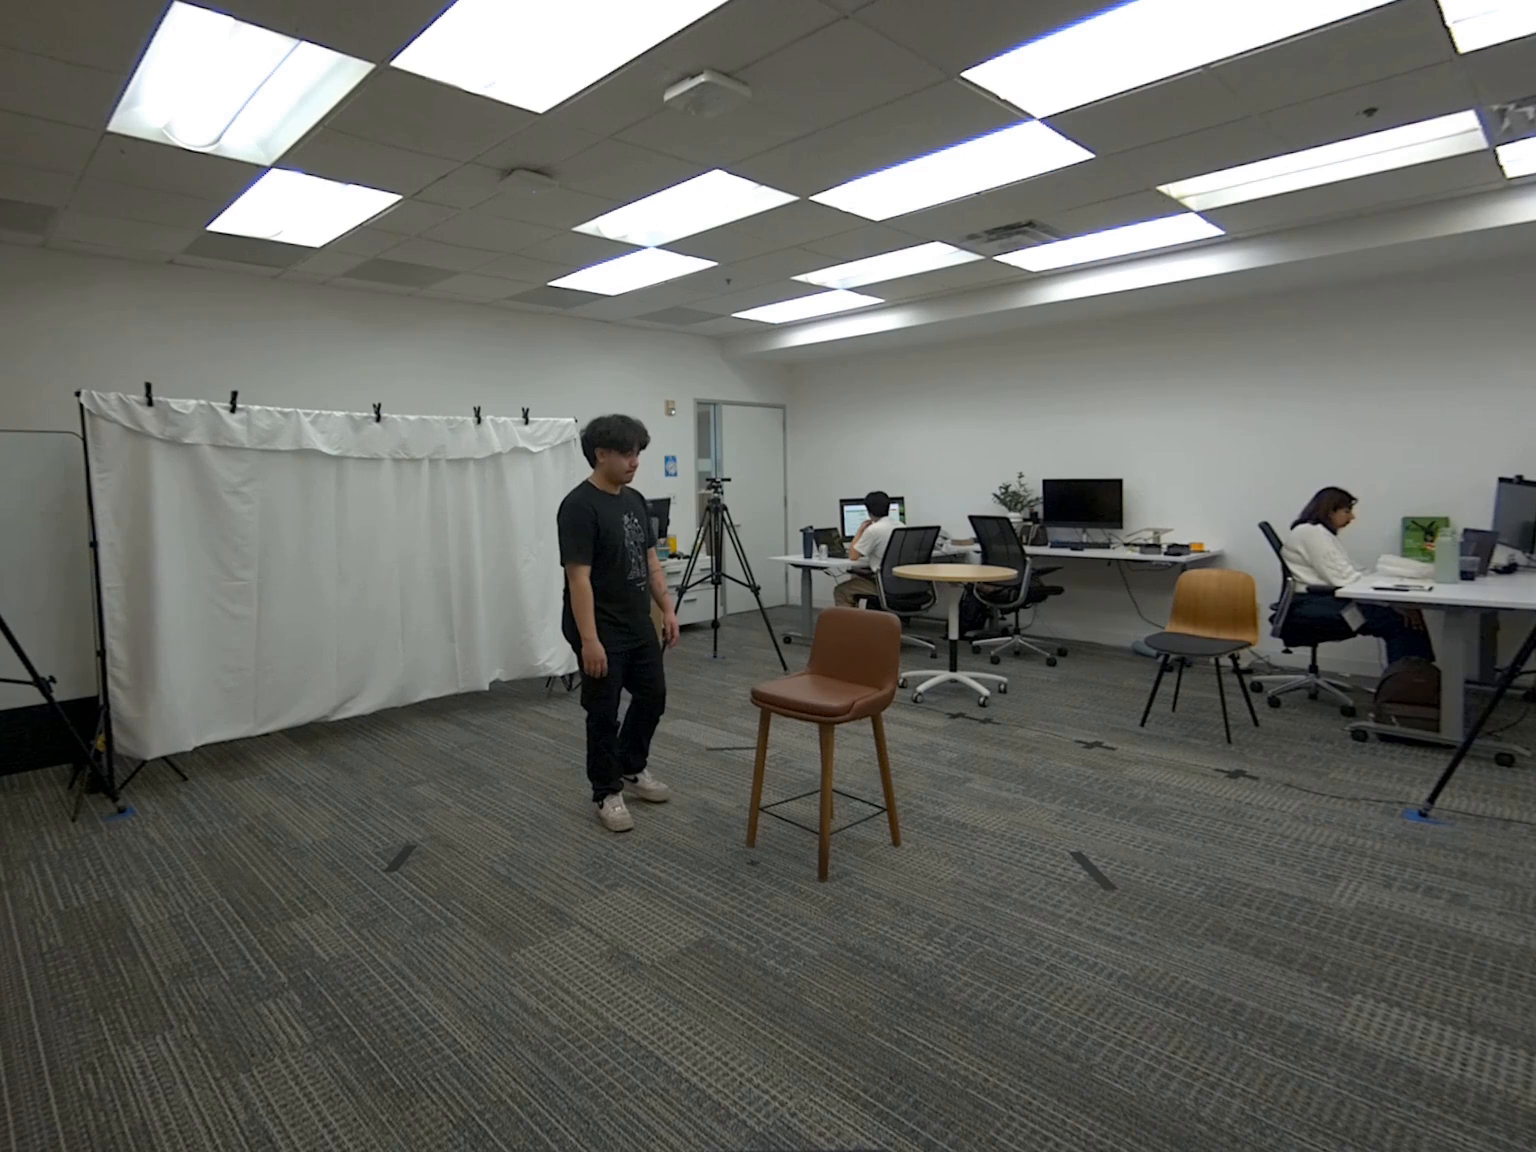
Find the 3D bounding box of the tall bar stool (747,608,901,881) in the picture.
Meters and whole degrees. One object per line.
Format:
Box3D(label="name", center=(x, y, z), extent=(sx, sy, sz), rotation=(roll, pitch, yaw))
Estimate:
Box3D(label="tall bar stool", center=(0.220, 0.590, 3.215), extent=(0.454, 0.888, 0.470), rotation=(-1, 3, -41))
